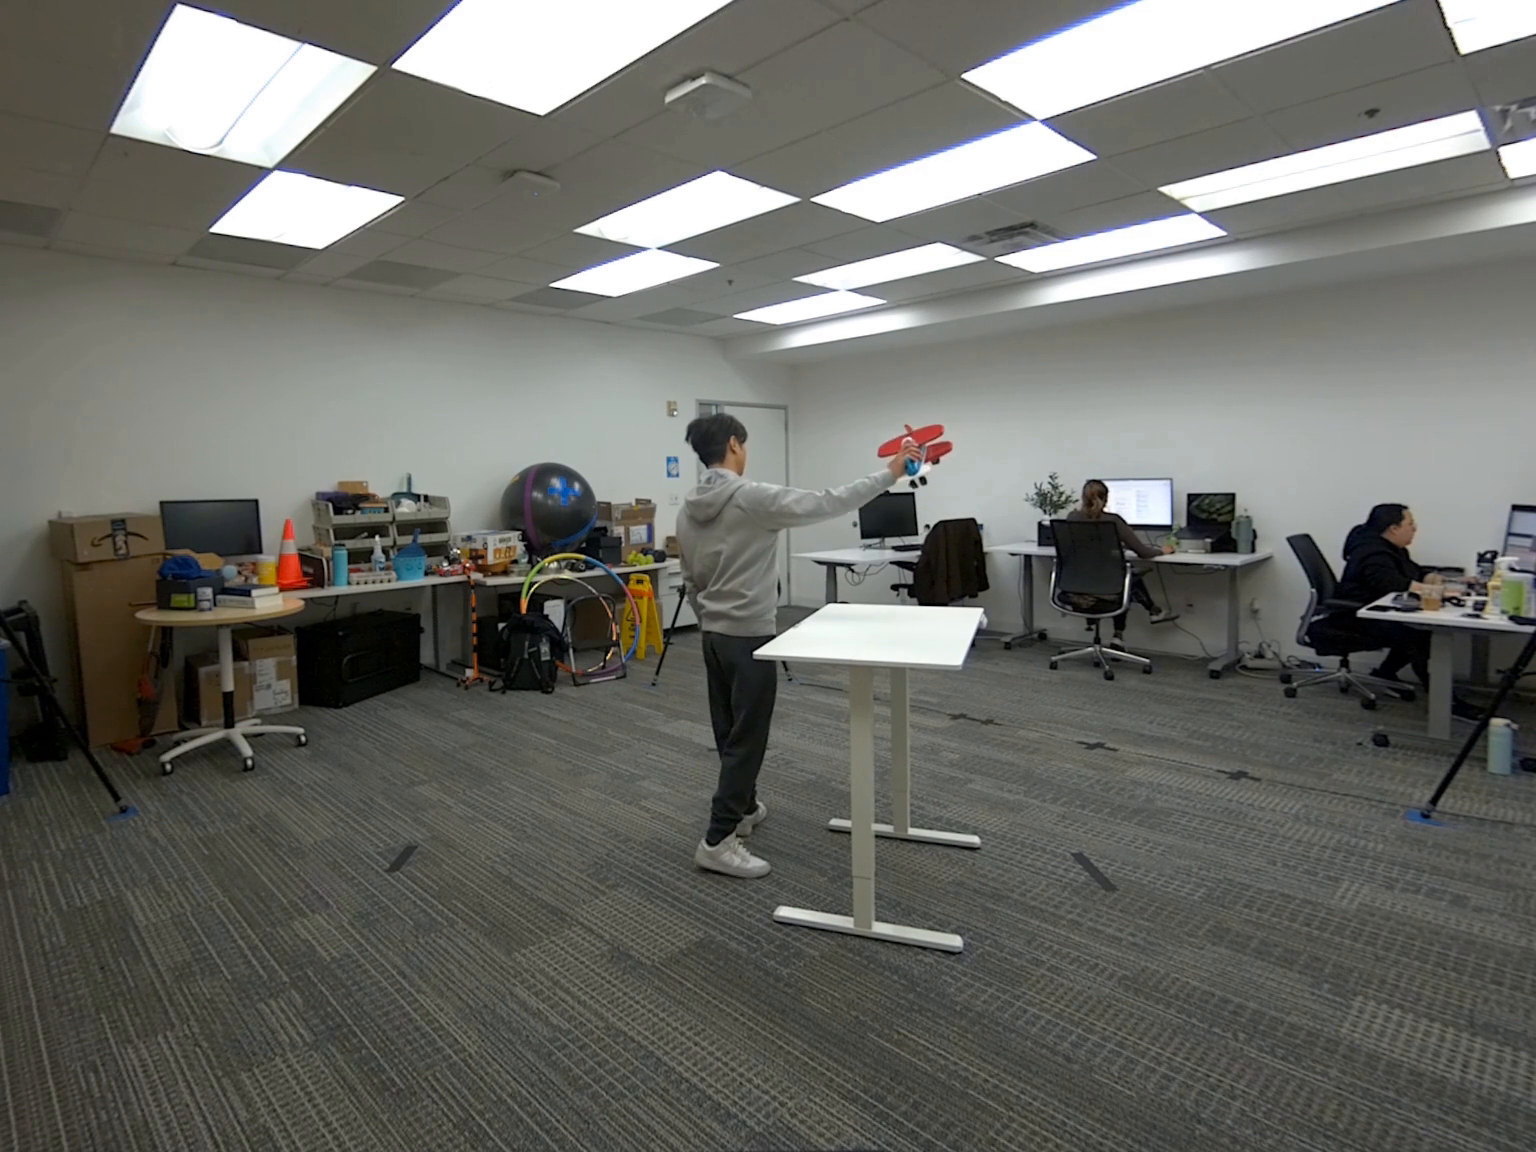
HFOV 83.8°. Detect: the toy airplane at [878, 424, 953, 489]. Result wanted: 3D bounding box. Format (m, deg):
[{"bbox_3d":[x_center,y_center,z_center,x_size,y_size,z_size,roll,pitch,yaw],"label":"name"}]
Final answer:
[{"bbox_3d":[0.552,-0.423,3.072,0.251,0.153,0.264,-28,17,1],"label":"toy airplane"}]
